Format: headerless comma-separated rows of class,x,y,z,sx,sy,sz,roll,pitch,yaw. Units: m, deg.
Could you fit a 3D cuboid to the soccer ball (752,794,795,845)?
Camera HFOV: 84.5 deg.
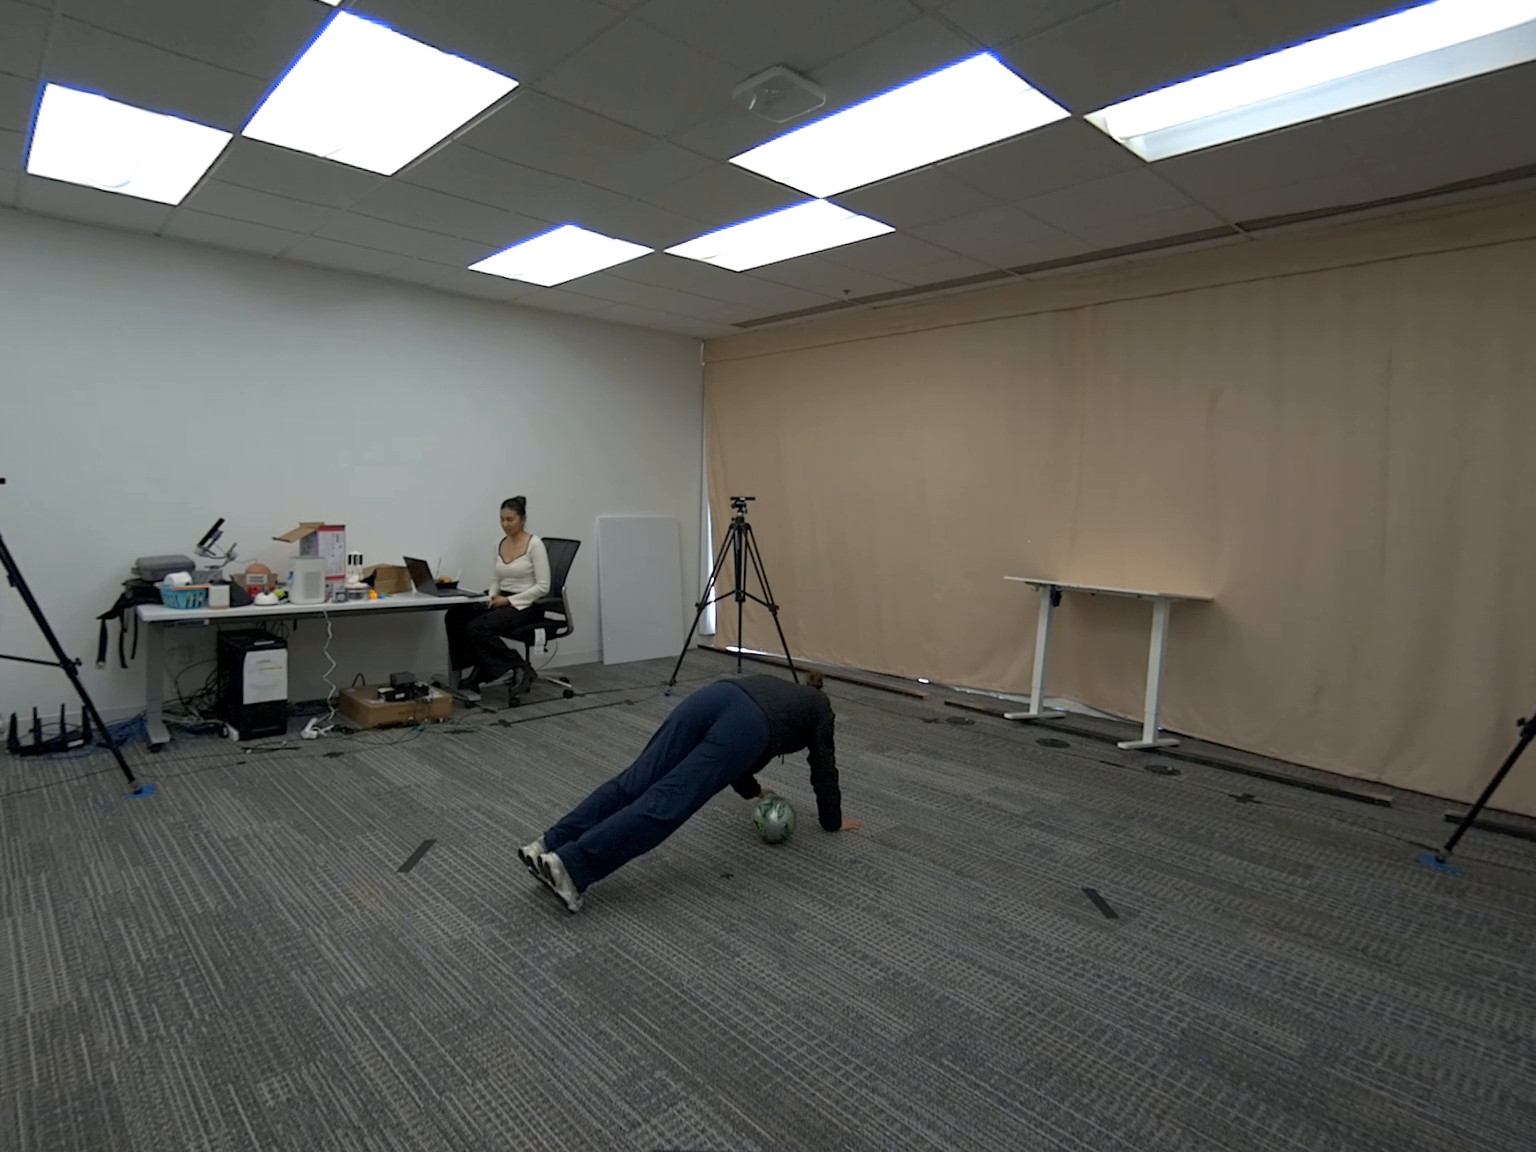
soccer ball,0.018,0.989,3.427,0.187,0.187,0.188,1,4,-1
